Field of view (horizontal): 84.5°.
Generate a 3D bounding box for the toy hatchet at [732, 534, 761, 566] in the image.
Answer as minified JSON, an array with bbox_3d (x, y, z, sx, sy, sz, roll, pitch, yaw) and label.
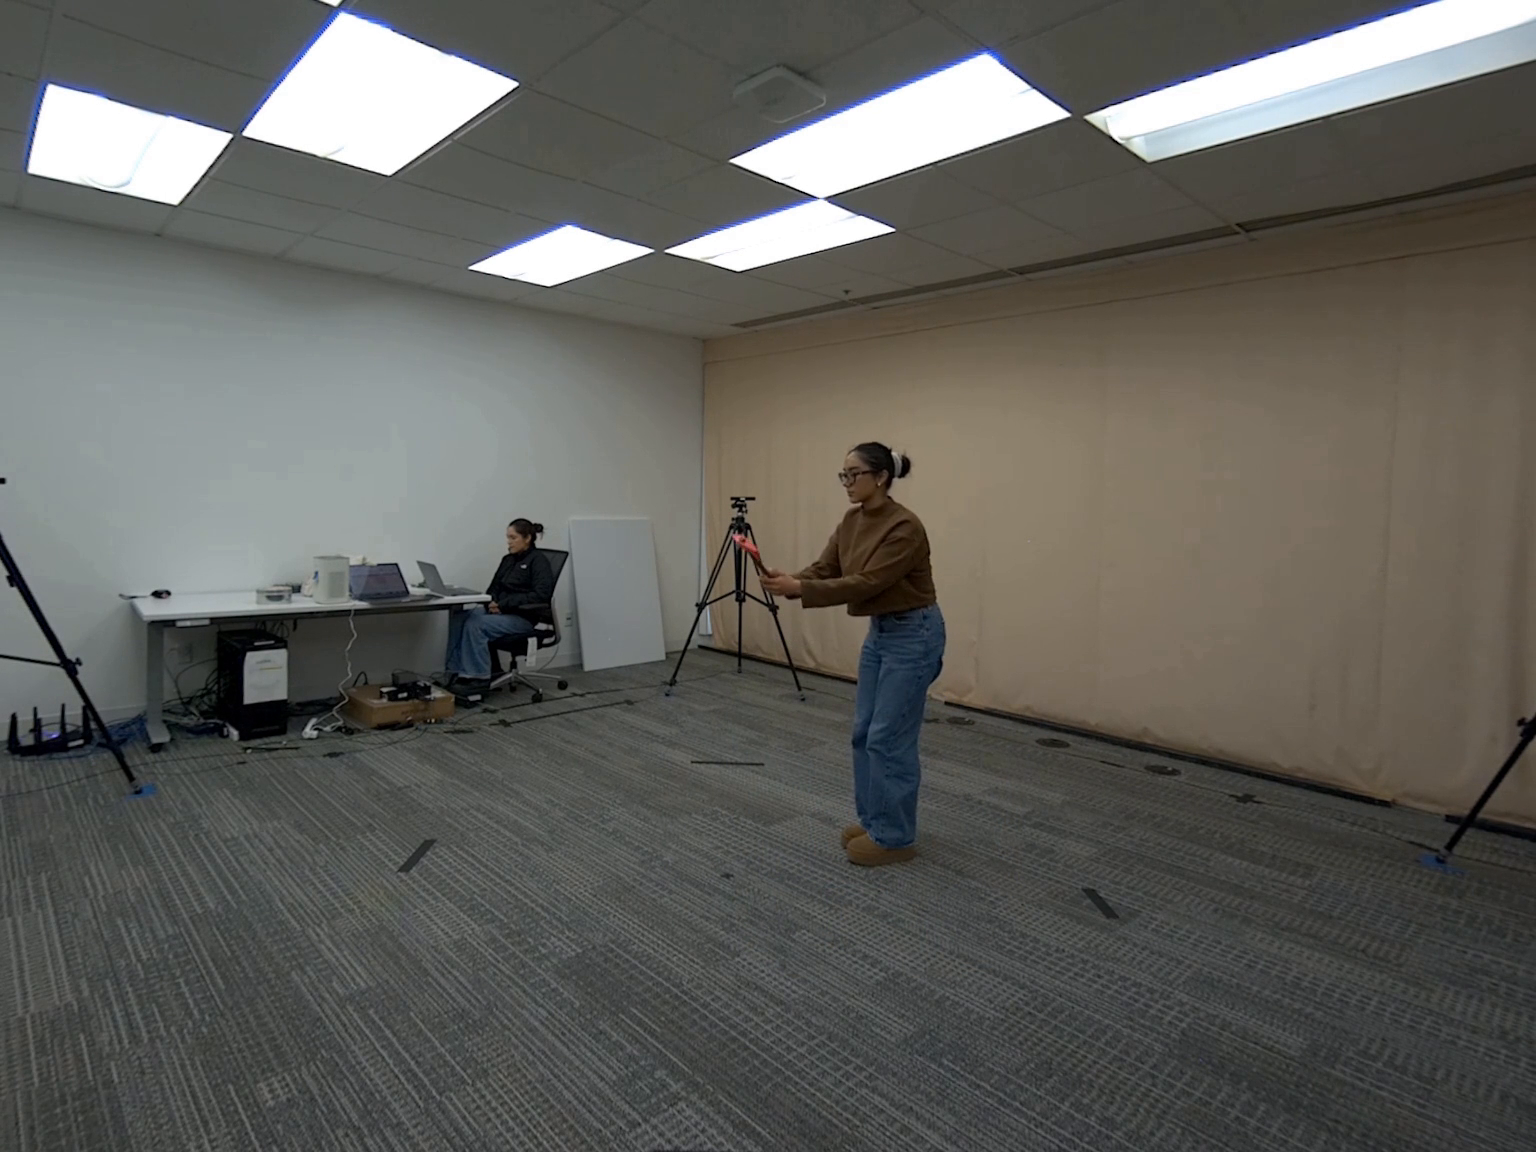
[{"bbox_3d":[-0.027,-0.045,2.965,0.263,0.029,0.134,47,-12,-29],"label":"toy hatchet"}]
